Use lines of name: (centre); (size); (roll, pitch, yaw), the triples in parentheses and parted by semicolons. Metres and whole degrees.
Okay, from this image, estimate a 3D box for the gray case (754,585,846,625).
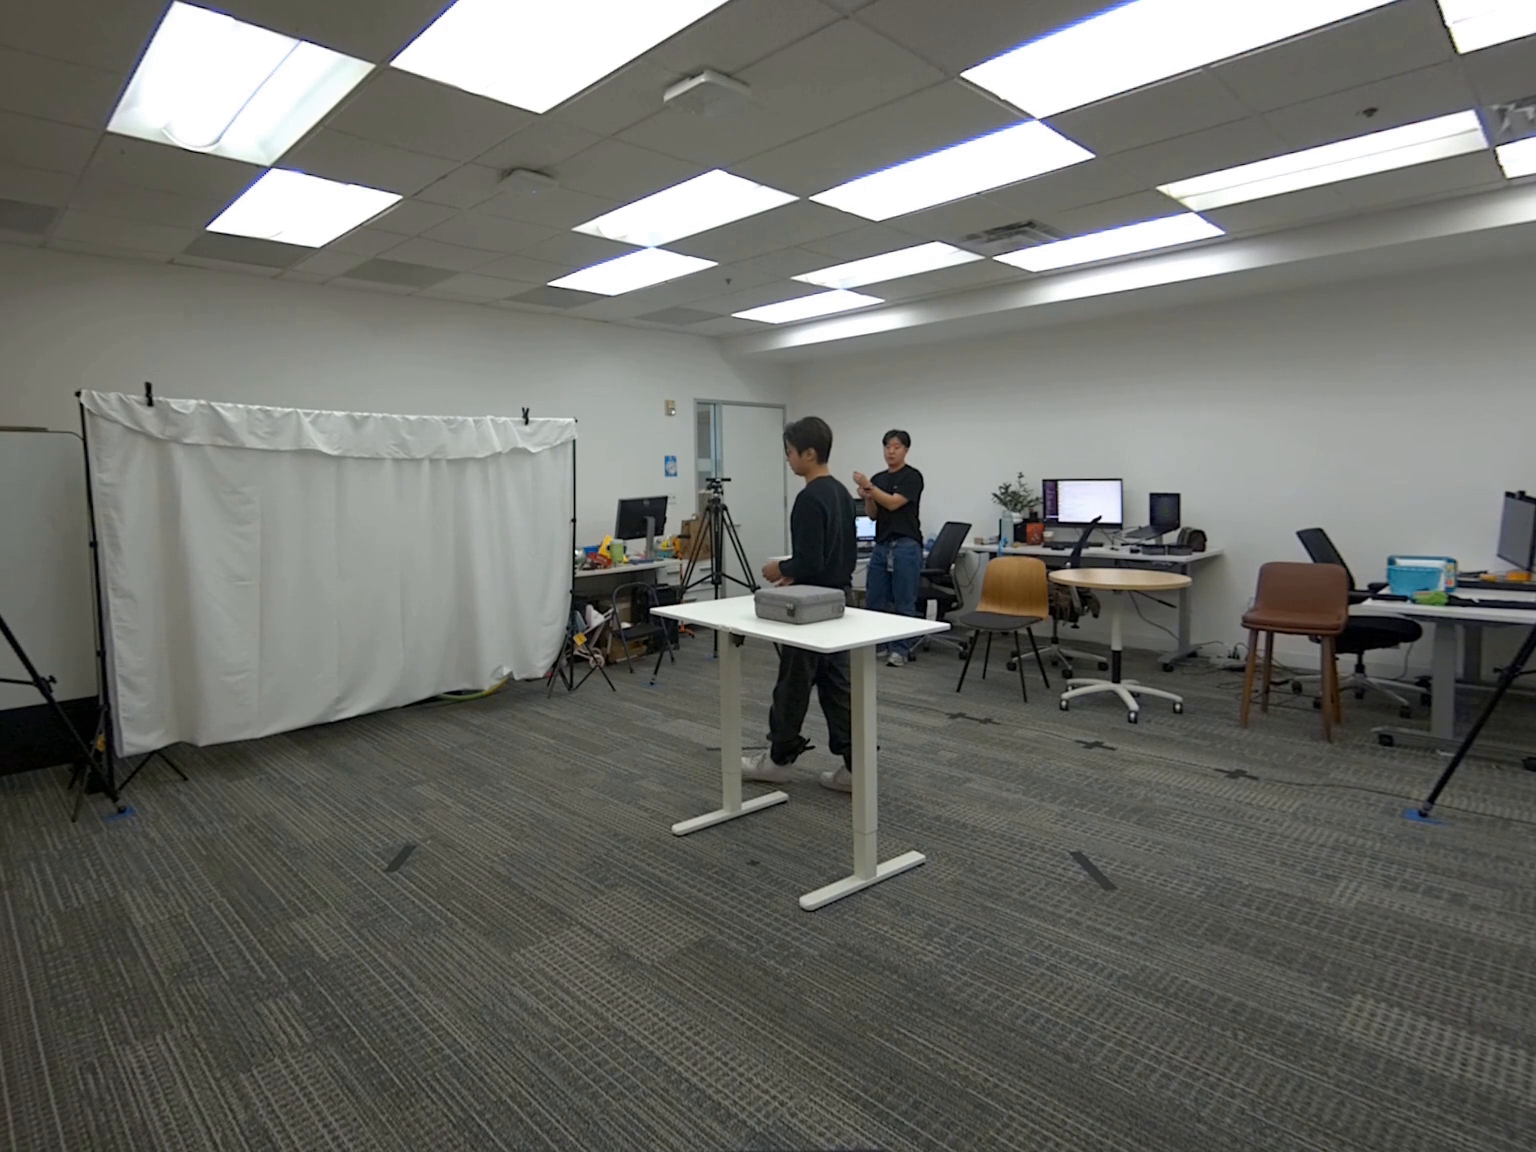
gray case: (0.116, 0.099, 3.137); (0.254, 0.104, 0.265); (-6, 7, -40)
